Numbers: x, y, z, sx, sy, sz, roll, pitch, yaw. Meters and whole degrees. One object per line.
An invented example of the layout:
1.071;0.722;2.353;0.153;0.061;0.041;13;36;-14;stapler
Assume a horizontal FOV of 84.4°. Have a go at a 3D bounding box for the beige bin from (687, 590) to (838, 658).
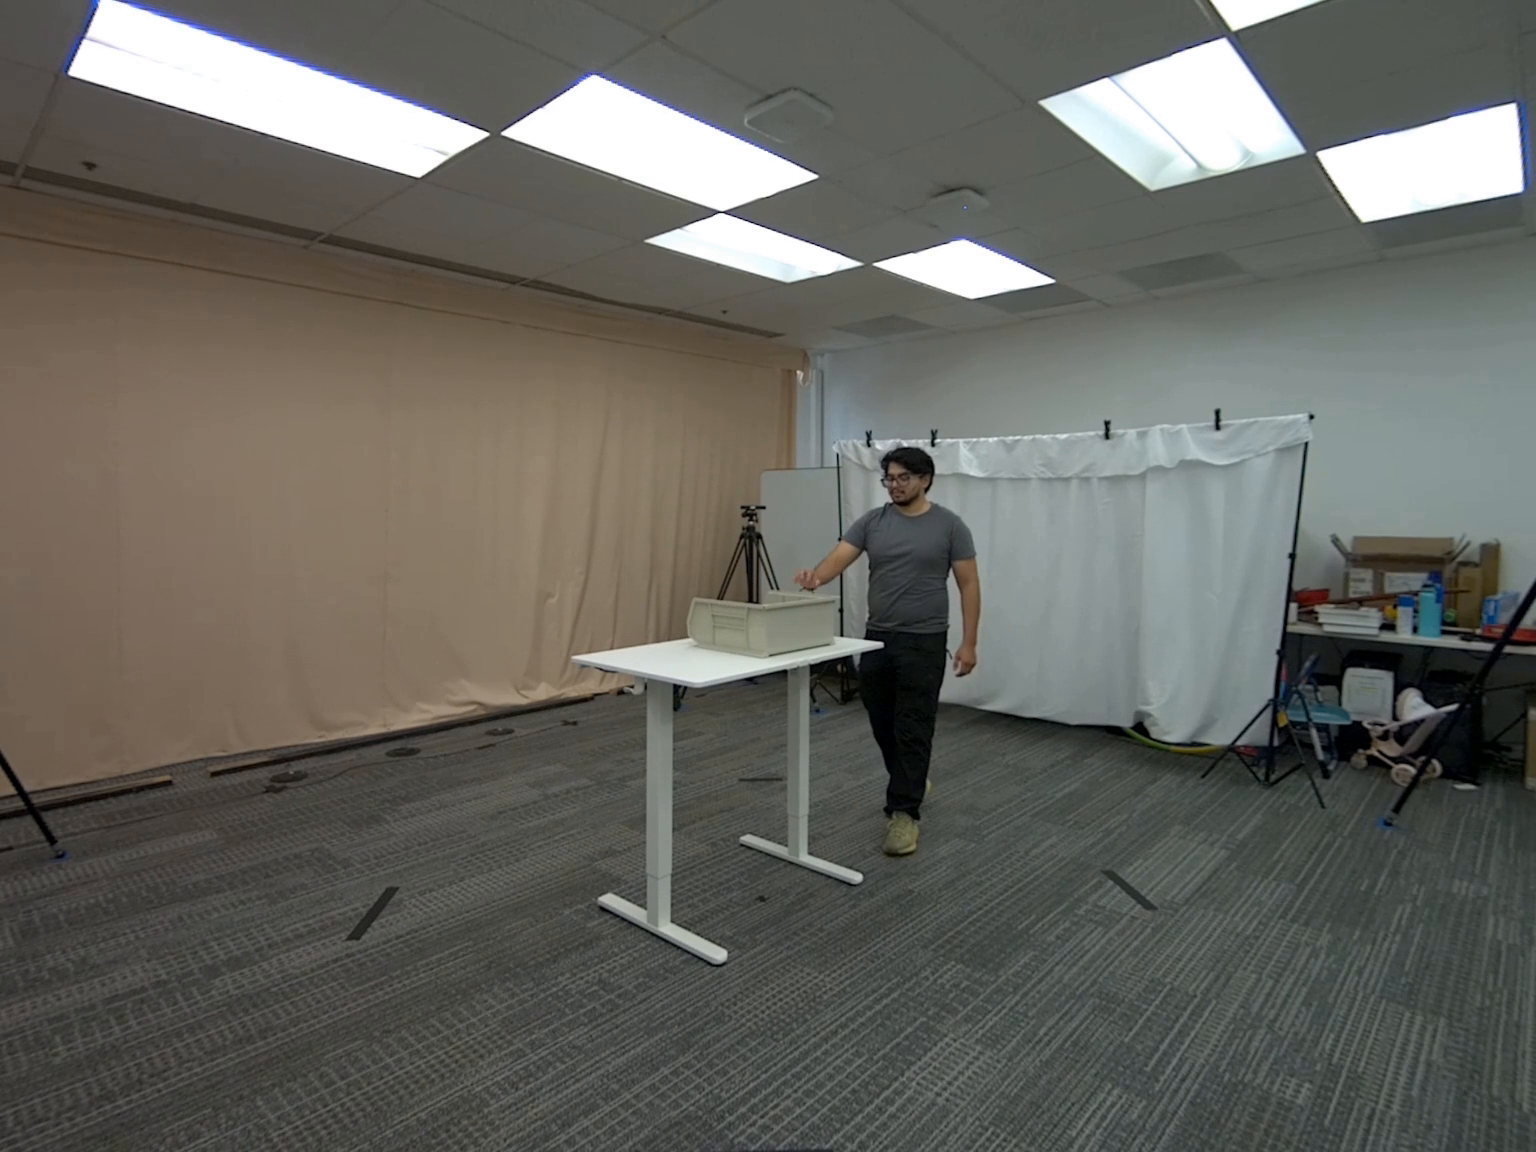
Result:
-0.017;0.165;3.068;0.390;0.188;0.409;6;7;42;beige bin
